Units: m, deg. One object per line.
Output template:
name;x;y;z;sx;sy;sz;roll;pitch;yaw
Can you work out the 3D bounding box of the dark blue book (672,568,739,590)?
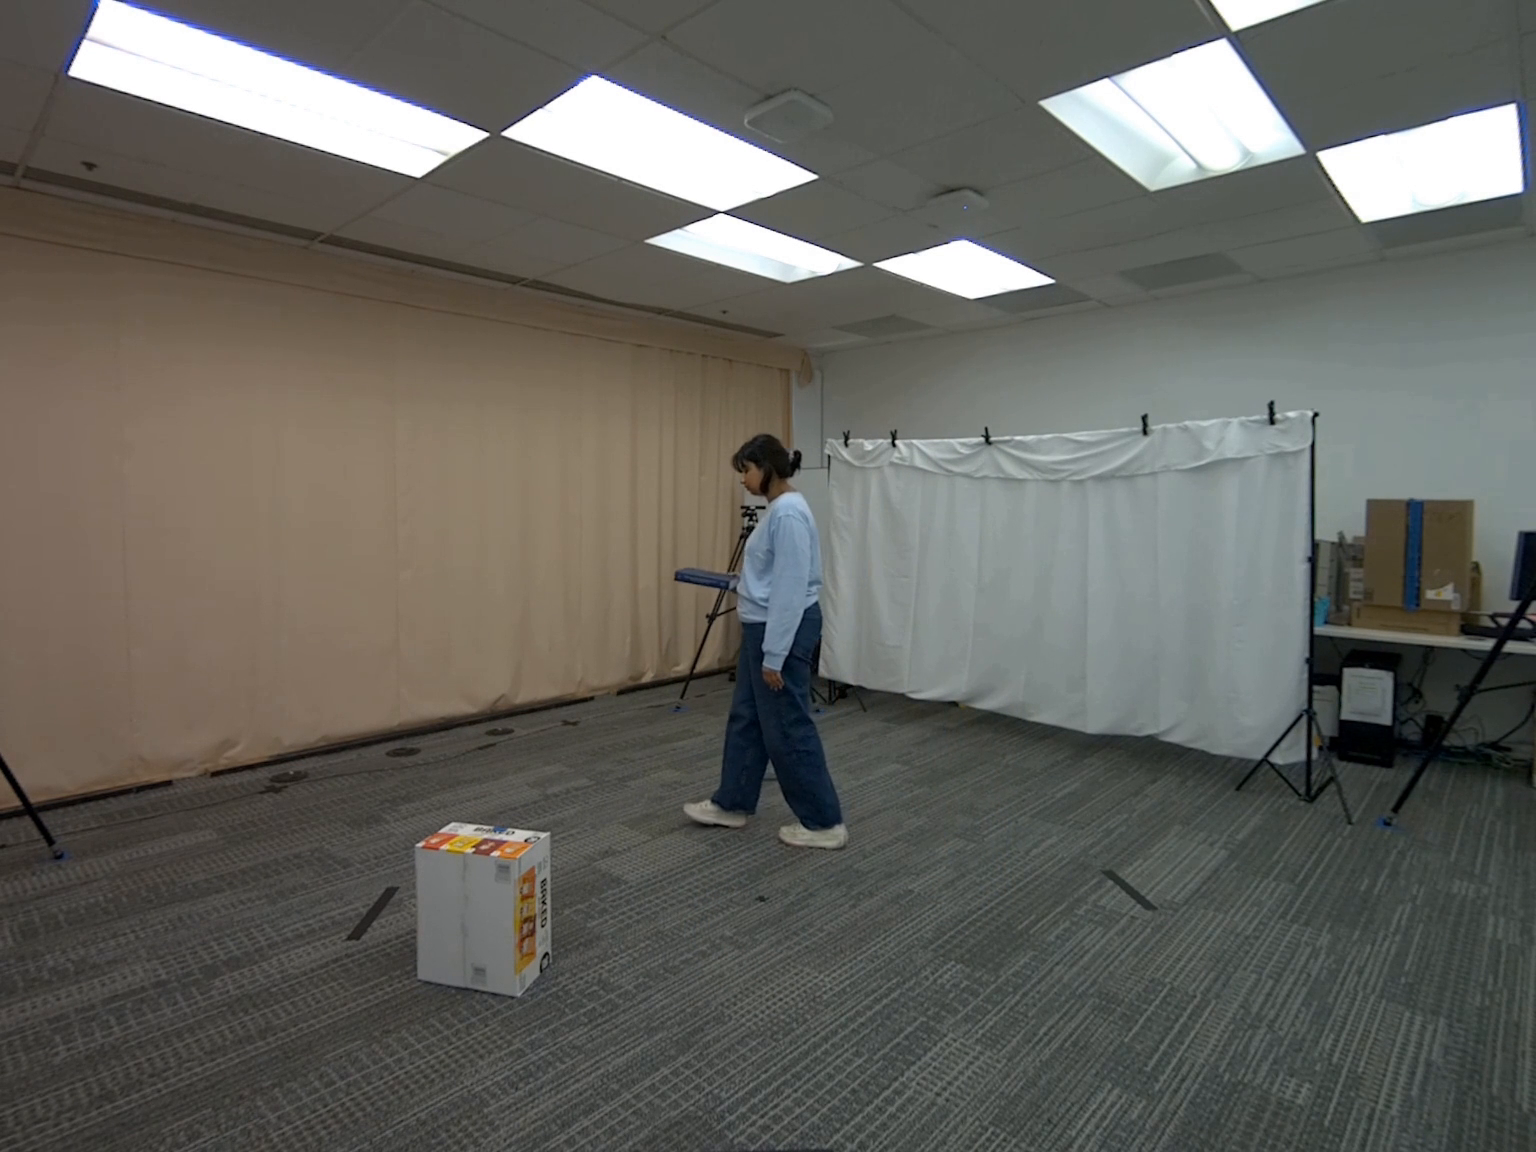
dark blue book;-0.264;0.010;3.573;0.249;0.045;0.161;8;5;12
